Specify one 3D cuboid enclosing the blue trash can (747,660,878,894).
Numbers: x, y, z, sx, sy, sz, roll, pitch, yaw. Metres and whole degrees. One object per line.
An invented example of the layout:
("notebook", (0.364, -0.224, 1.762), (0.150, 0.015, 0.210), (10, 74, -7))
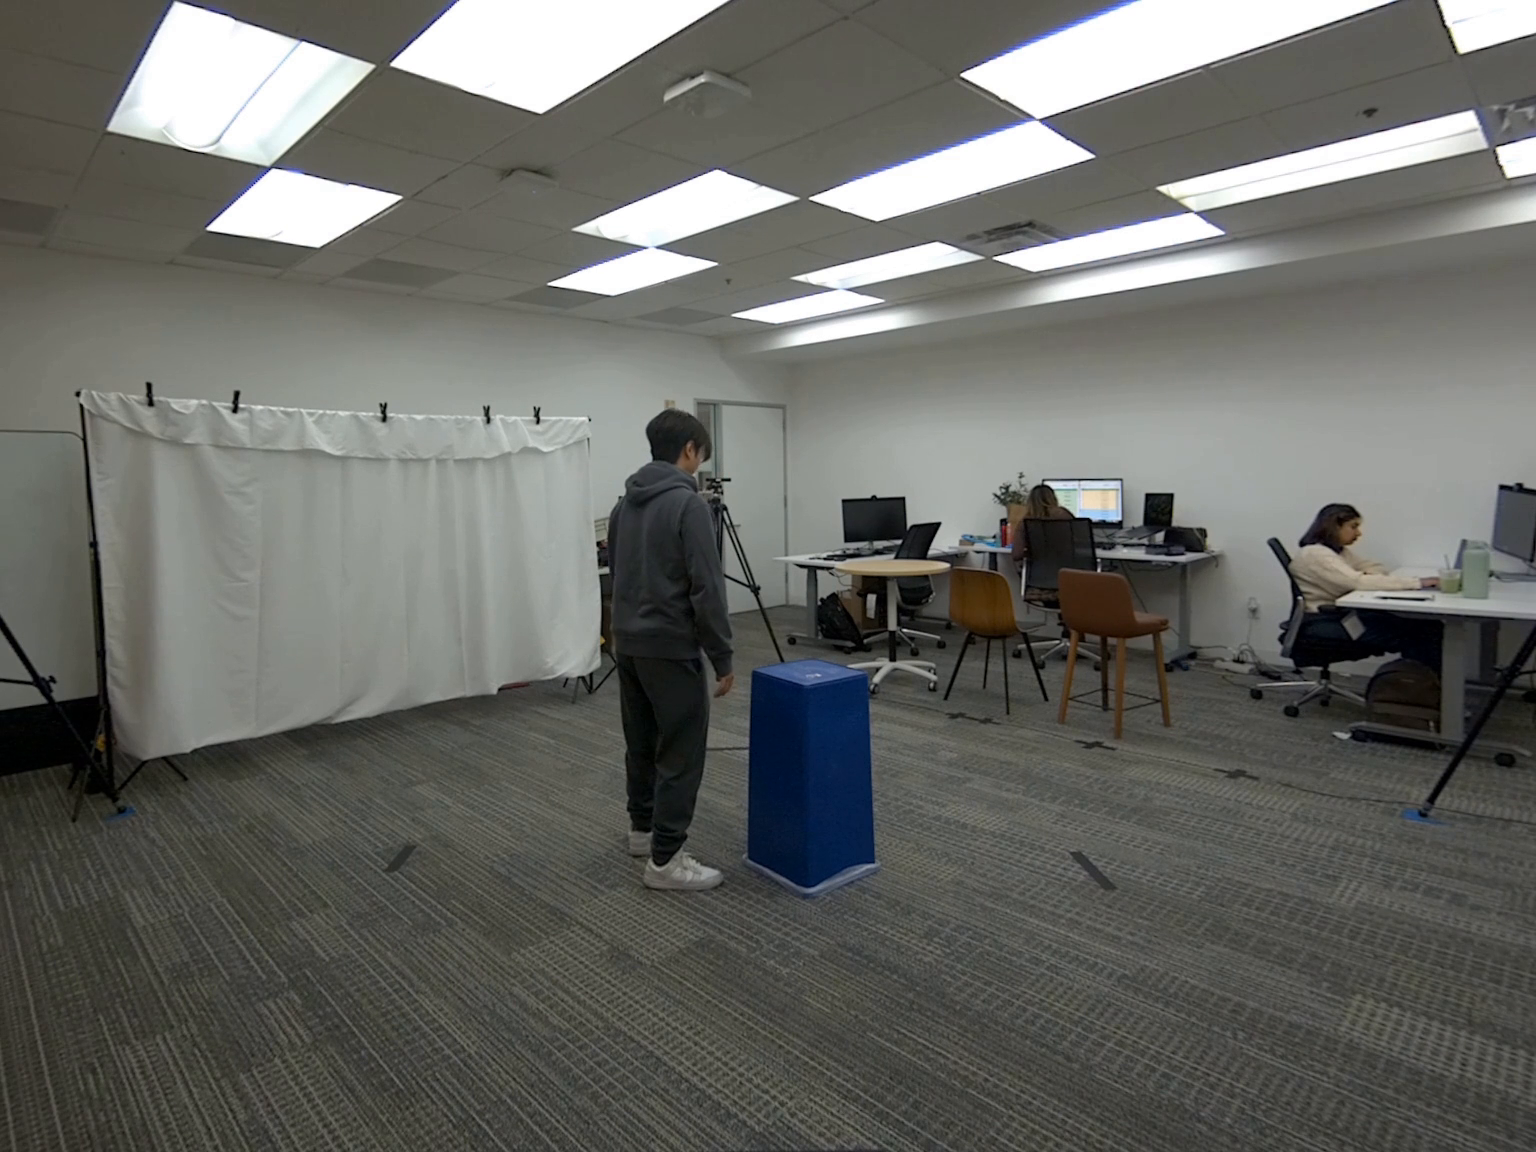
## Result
("blue trash can", (0.151, 0.689, 3.048), (0.368, 0.711, 0.385), (-3, 6, -38))
